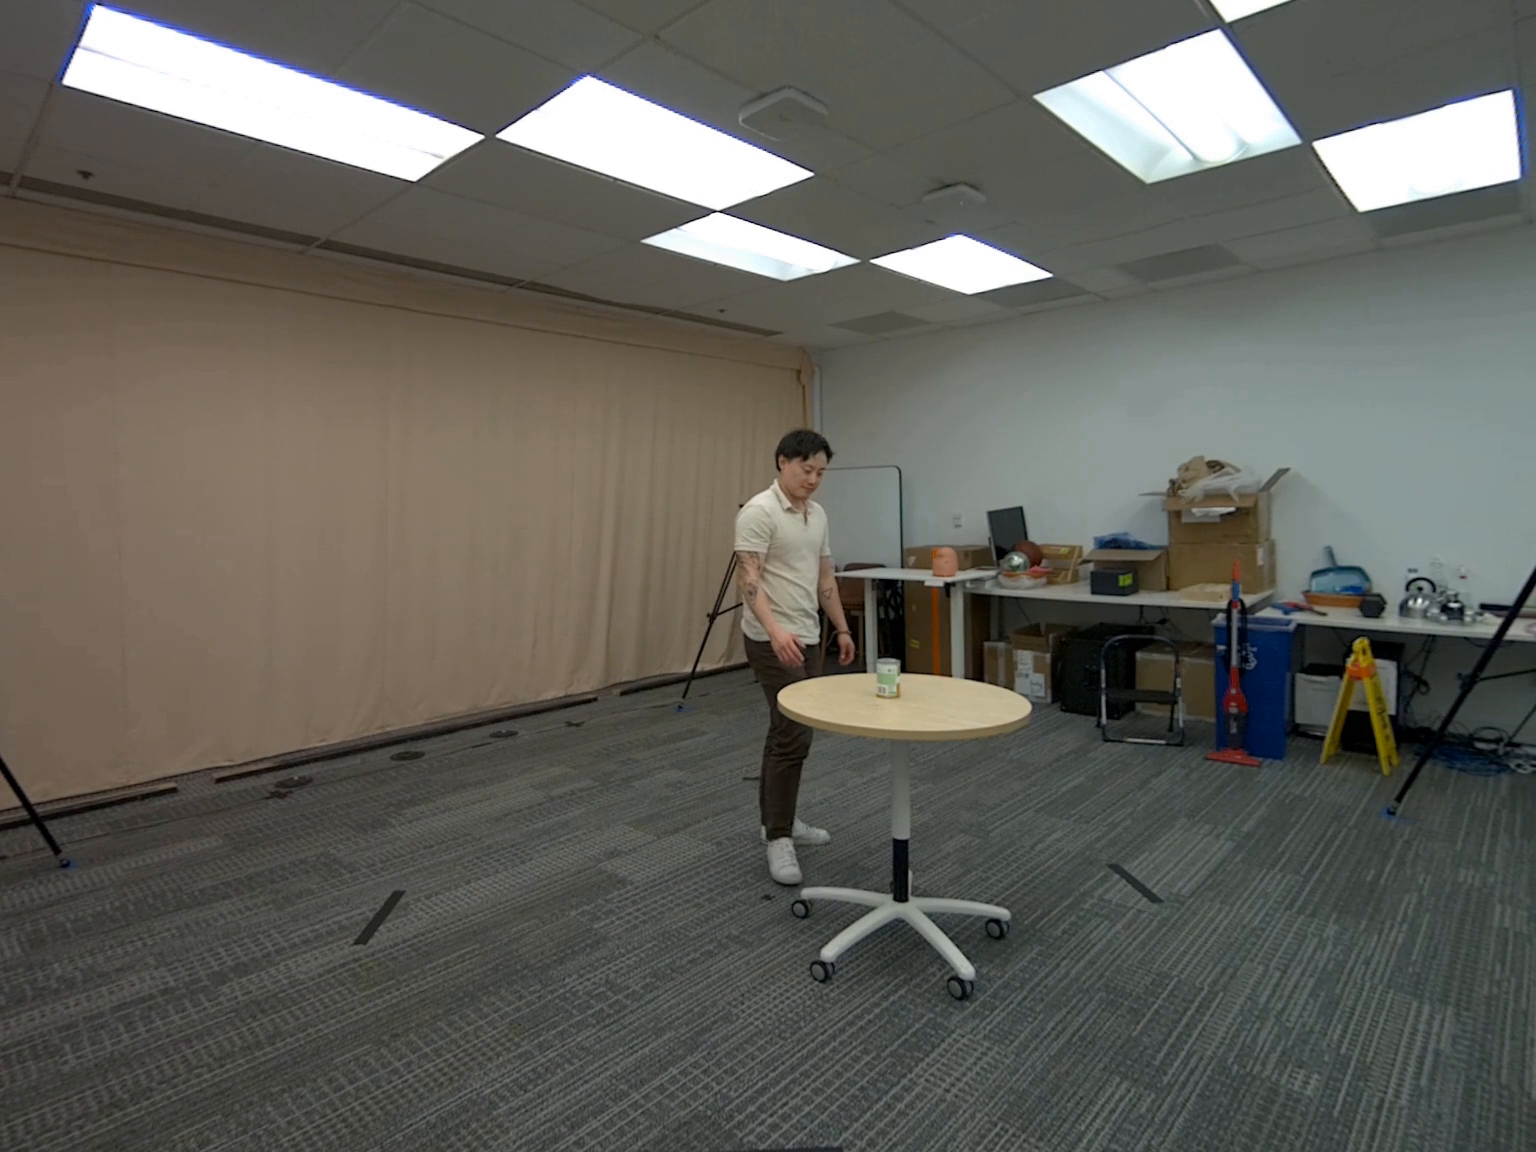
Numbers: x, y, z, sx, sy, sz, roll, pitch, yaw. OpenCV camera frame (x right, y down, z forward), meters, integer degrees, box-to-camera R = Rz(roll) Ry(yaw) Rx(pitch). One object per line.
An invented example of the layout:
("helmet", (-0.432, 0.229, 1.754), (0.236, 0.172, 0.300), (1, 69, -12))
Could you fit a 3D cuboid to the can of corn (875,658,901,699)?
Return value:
("can of corn", (0.381, 0.318, 2.642), (0.074, 0.111, 0.074), (0, 5, -2))
